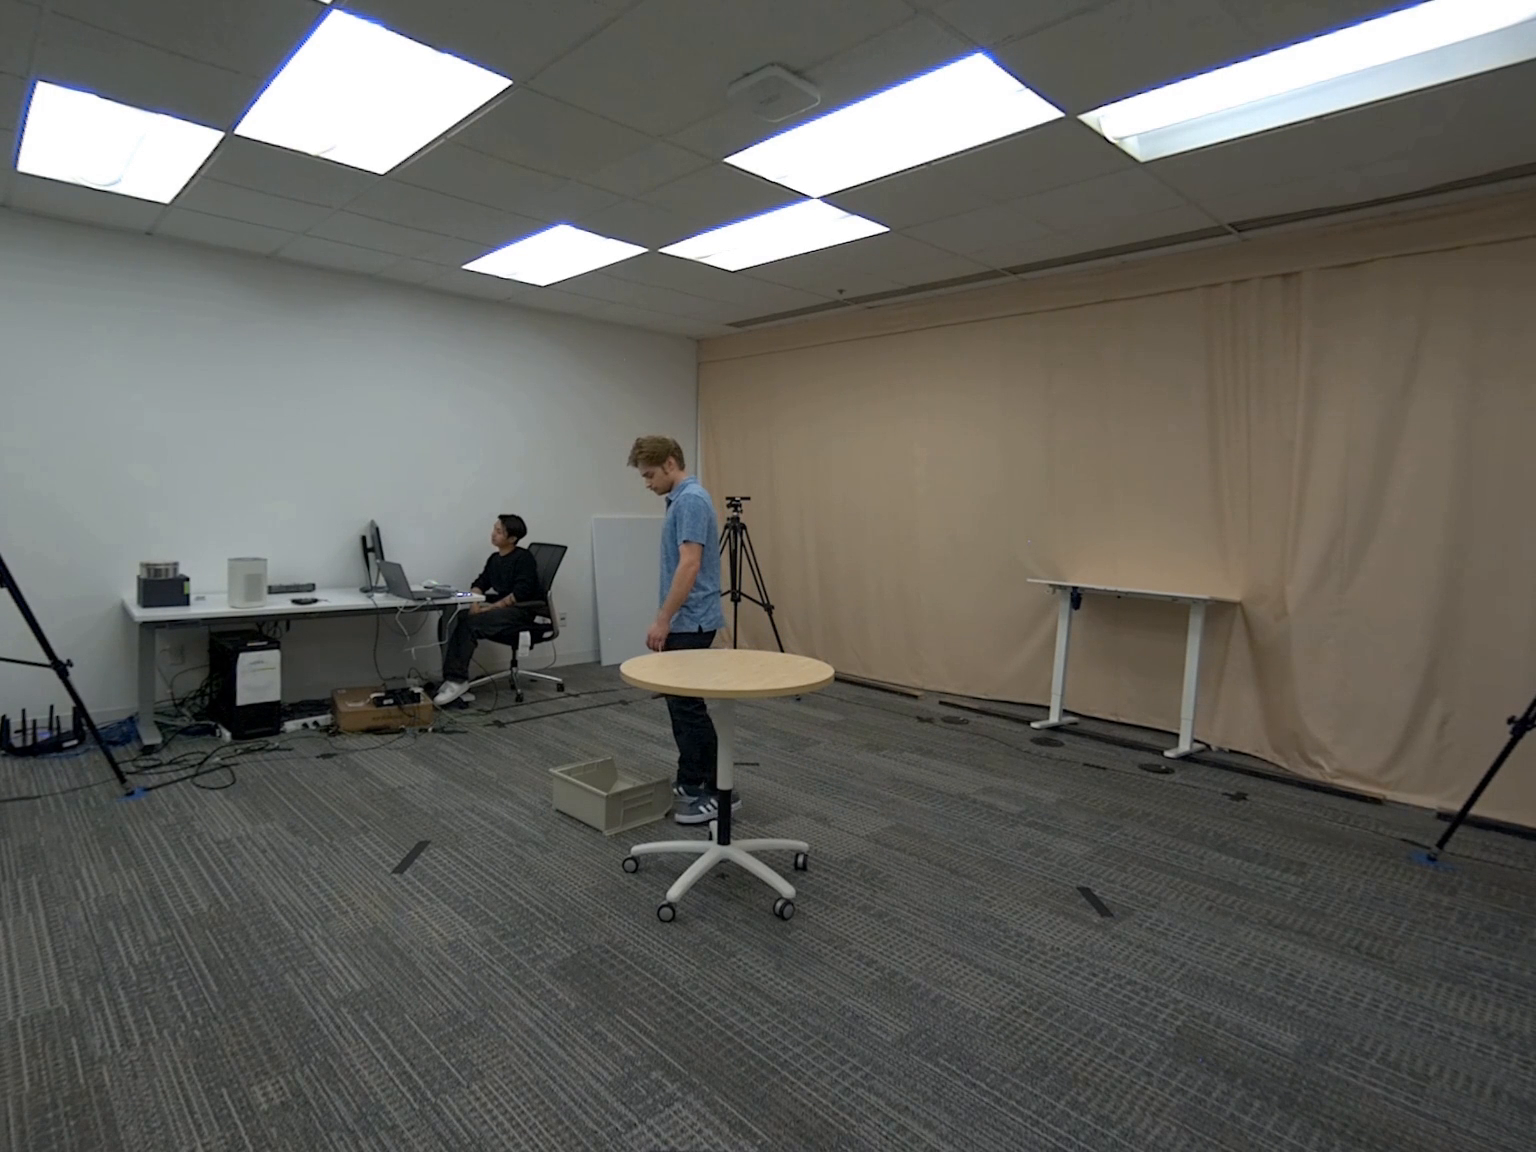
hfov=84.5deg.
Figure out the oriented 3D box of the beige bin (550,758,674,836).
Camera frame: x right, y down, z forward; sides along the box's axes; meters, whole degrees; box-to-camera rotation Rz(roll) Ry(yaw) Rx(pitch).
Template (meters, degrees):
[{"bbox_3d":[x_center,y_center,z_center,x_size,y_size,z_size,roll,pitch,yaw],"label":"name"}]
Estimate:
[{"bbox_3d":[-0.696,0.953,3.704,0.433,0.188,0.369,7,8,44],"label":"beige bin"}]
